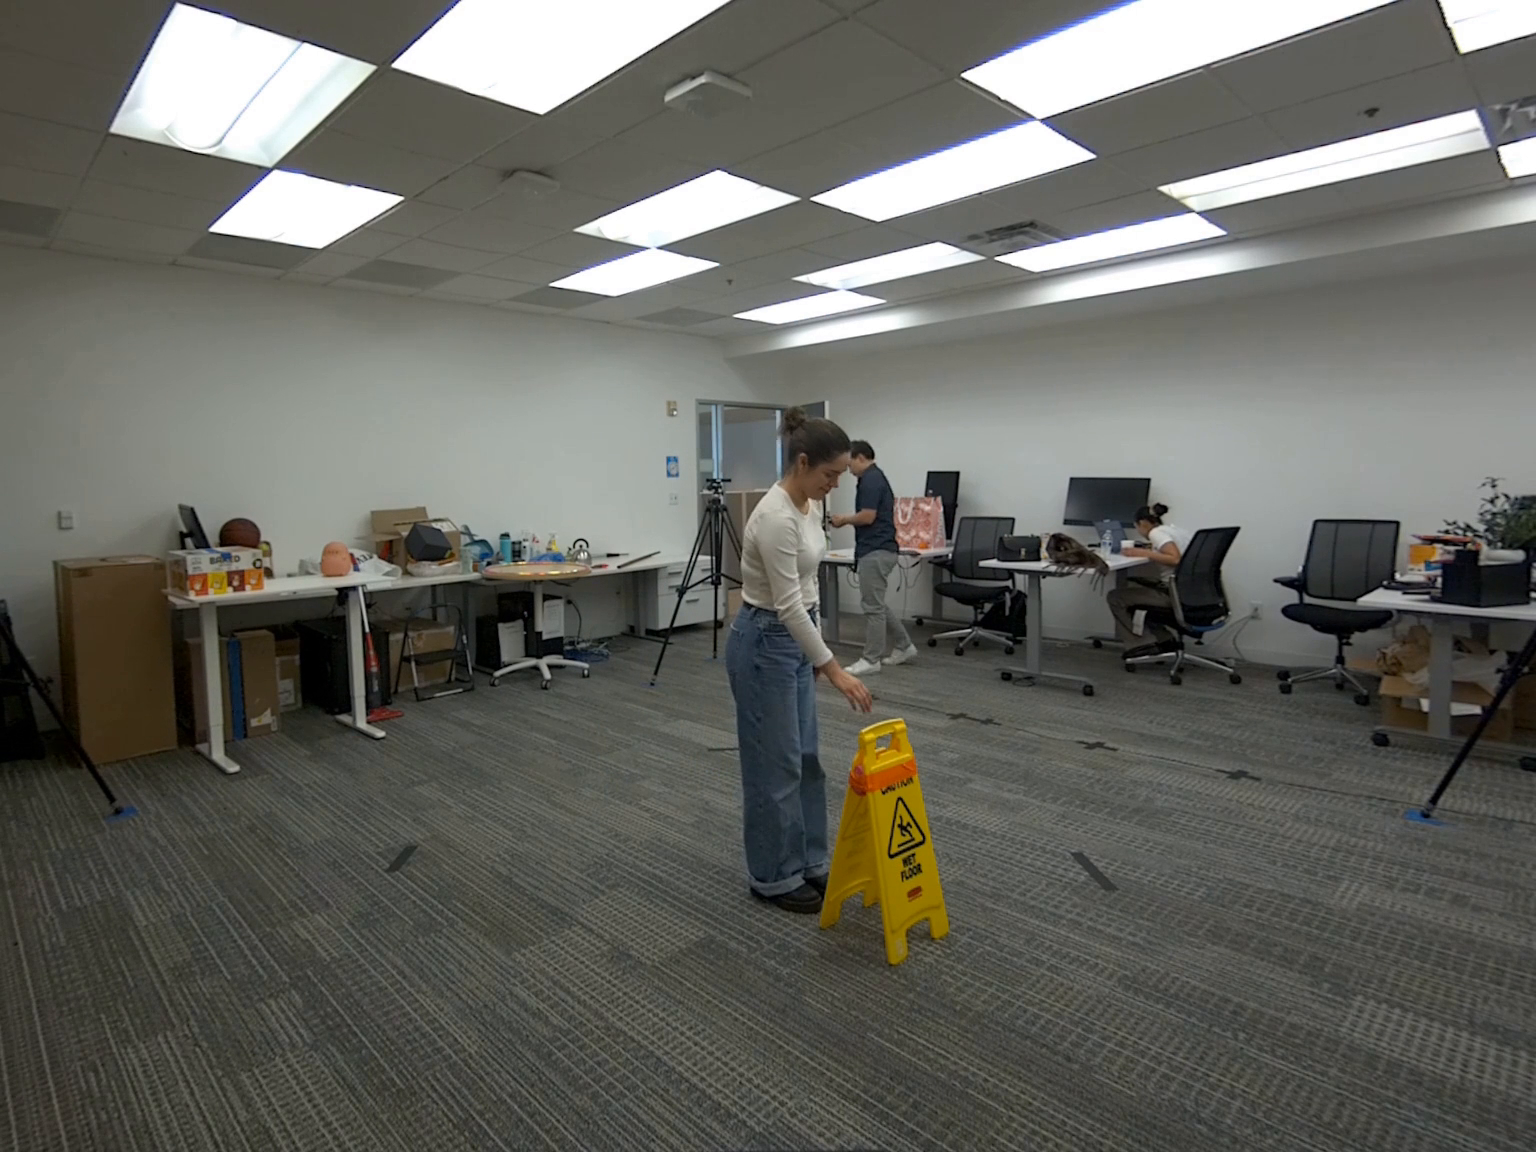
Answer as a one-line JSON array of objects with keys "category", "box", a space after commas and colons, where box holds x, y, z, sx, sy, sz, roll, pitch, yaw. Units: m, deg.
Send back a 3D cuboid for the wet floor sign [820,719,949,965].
[{"category": "wet floor sign", "box": [0.360, 0.772, 2.606, 0.275, 0.643, 0.299, -6, 7, -42]}]
